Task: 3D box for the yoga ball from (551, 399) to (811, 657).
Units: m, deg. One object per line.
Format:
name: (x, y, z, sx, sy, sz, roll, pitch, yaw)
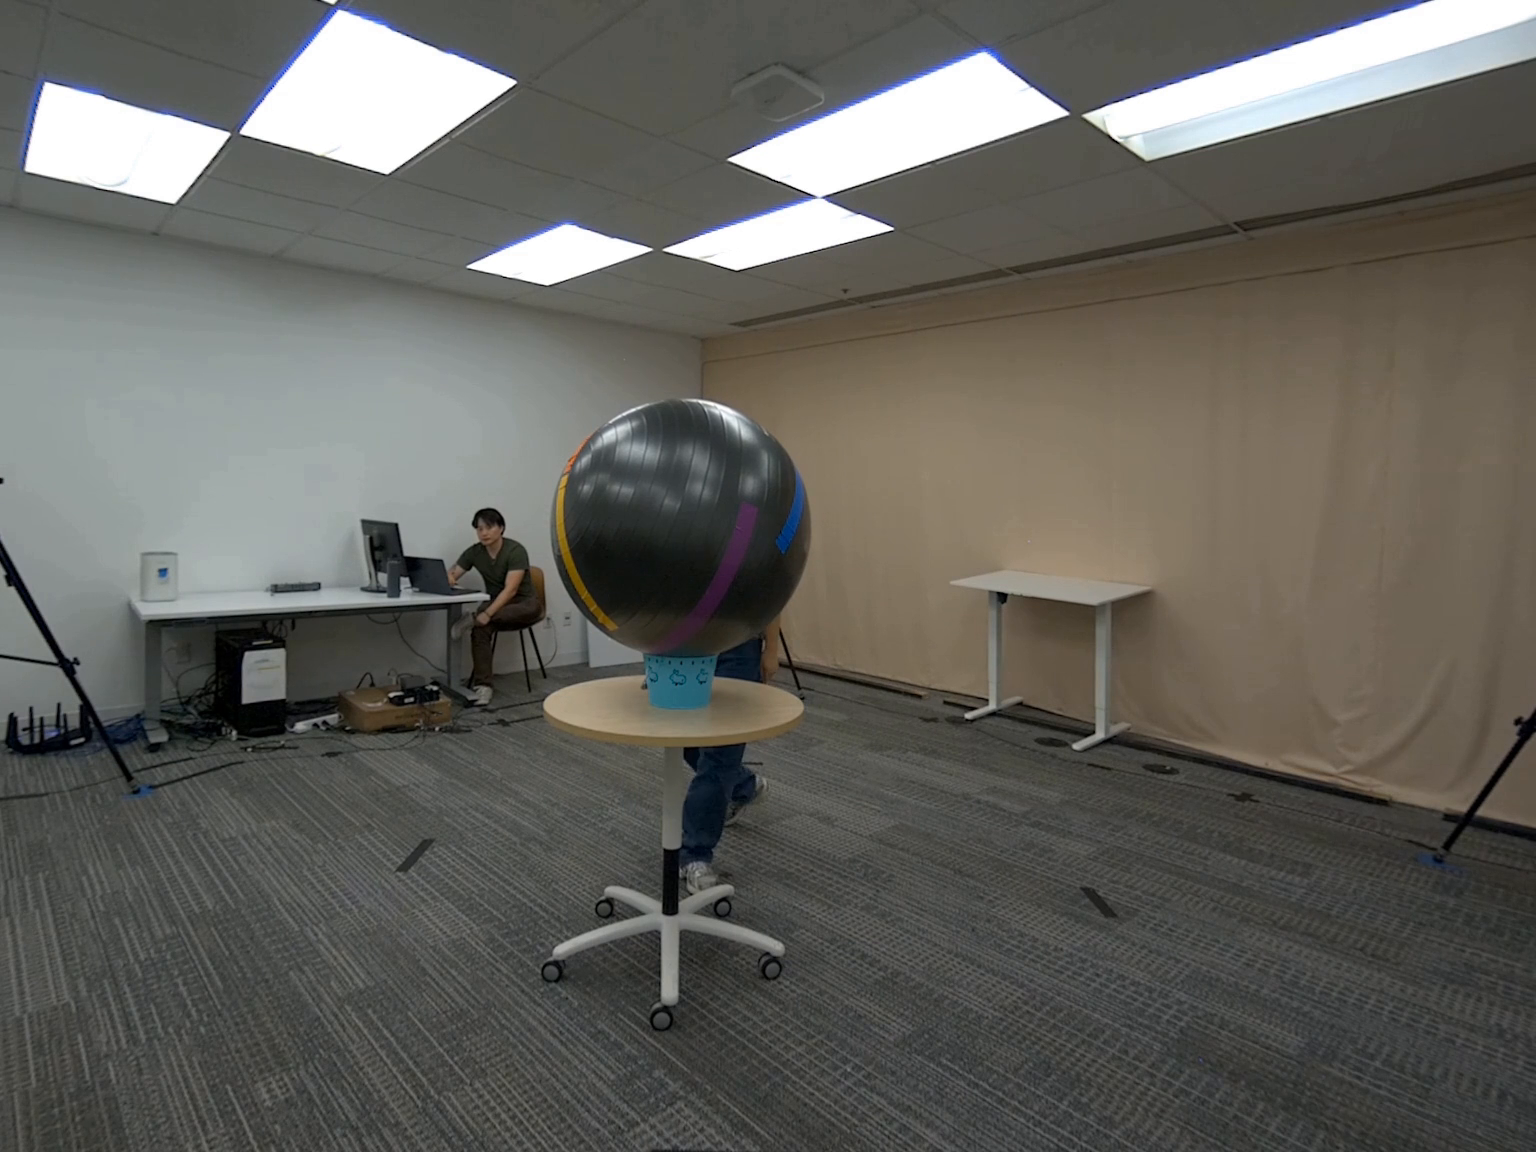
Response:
yoga ball: (-0.259, -0.135, 2.470, 0.757, 0.756, 0.761, 1, 4, -1)
